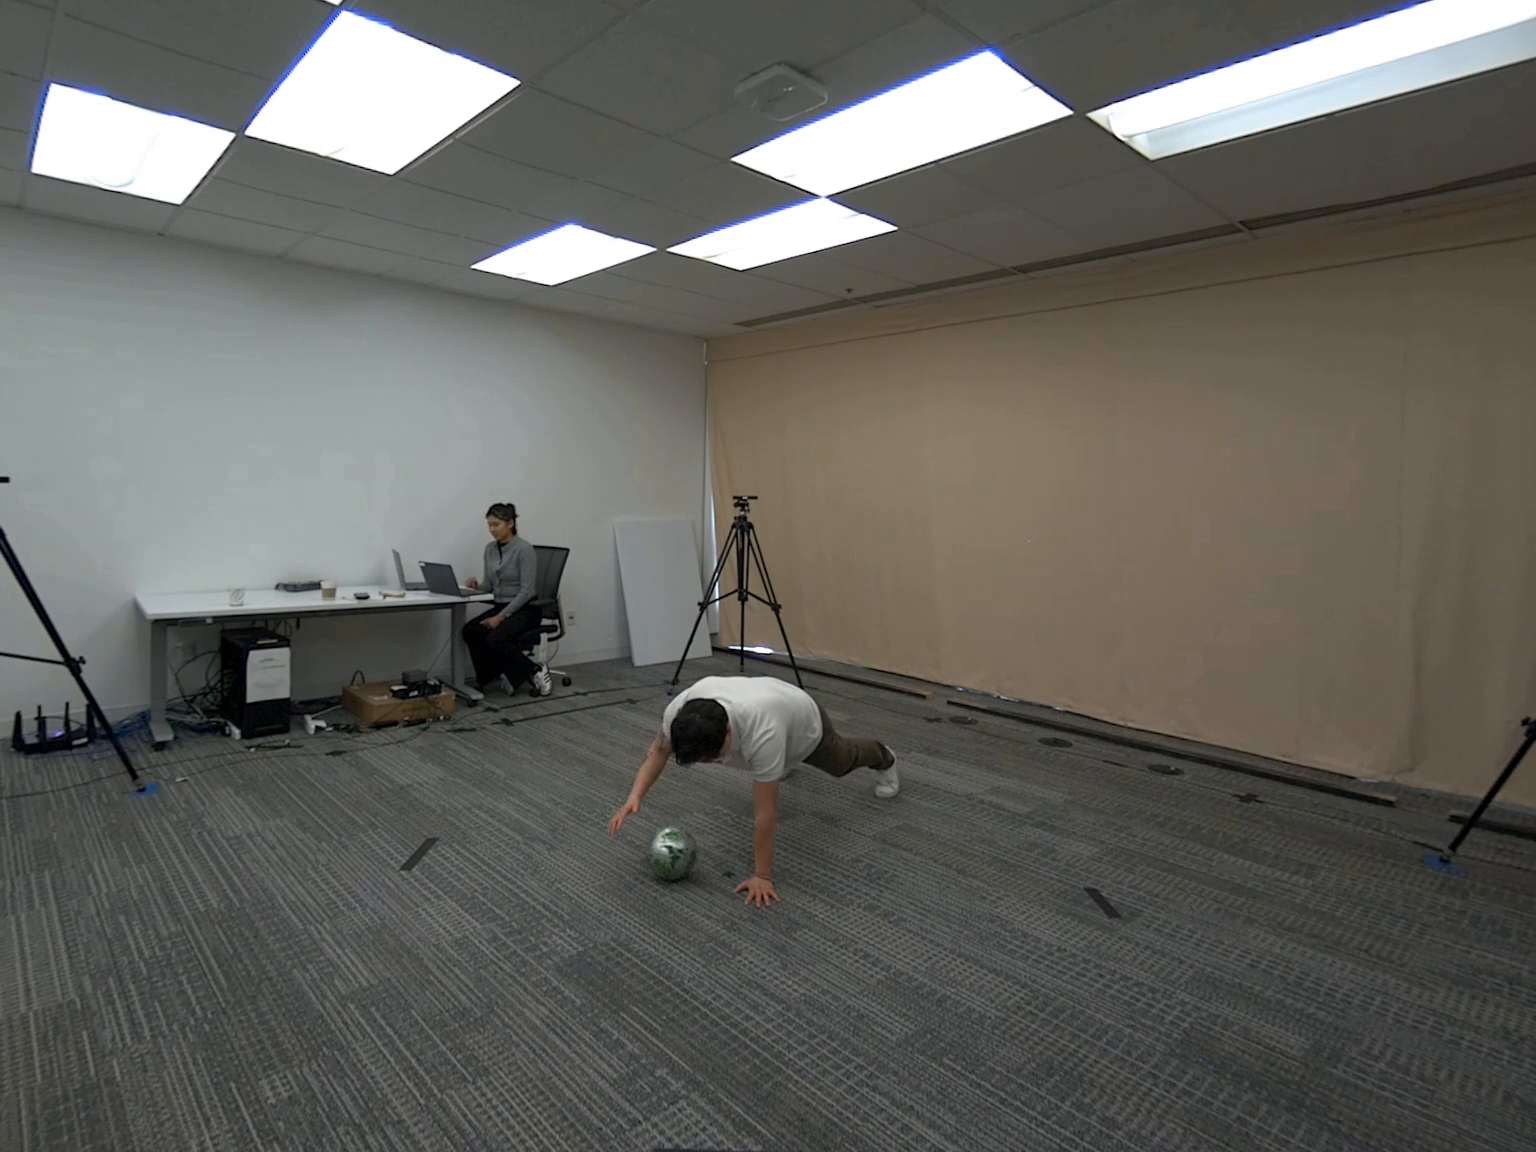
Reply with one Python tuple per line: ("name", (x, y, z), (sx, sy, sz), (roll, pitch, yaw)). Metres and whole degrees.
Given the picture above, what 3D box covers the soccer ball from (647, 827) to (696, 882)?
("soccer ball", (-0.361, 1.004, 3.059), (0.187, 0.187, 0.188), (1, 4, -1))
